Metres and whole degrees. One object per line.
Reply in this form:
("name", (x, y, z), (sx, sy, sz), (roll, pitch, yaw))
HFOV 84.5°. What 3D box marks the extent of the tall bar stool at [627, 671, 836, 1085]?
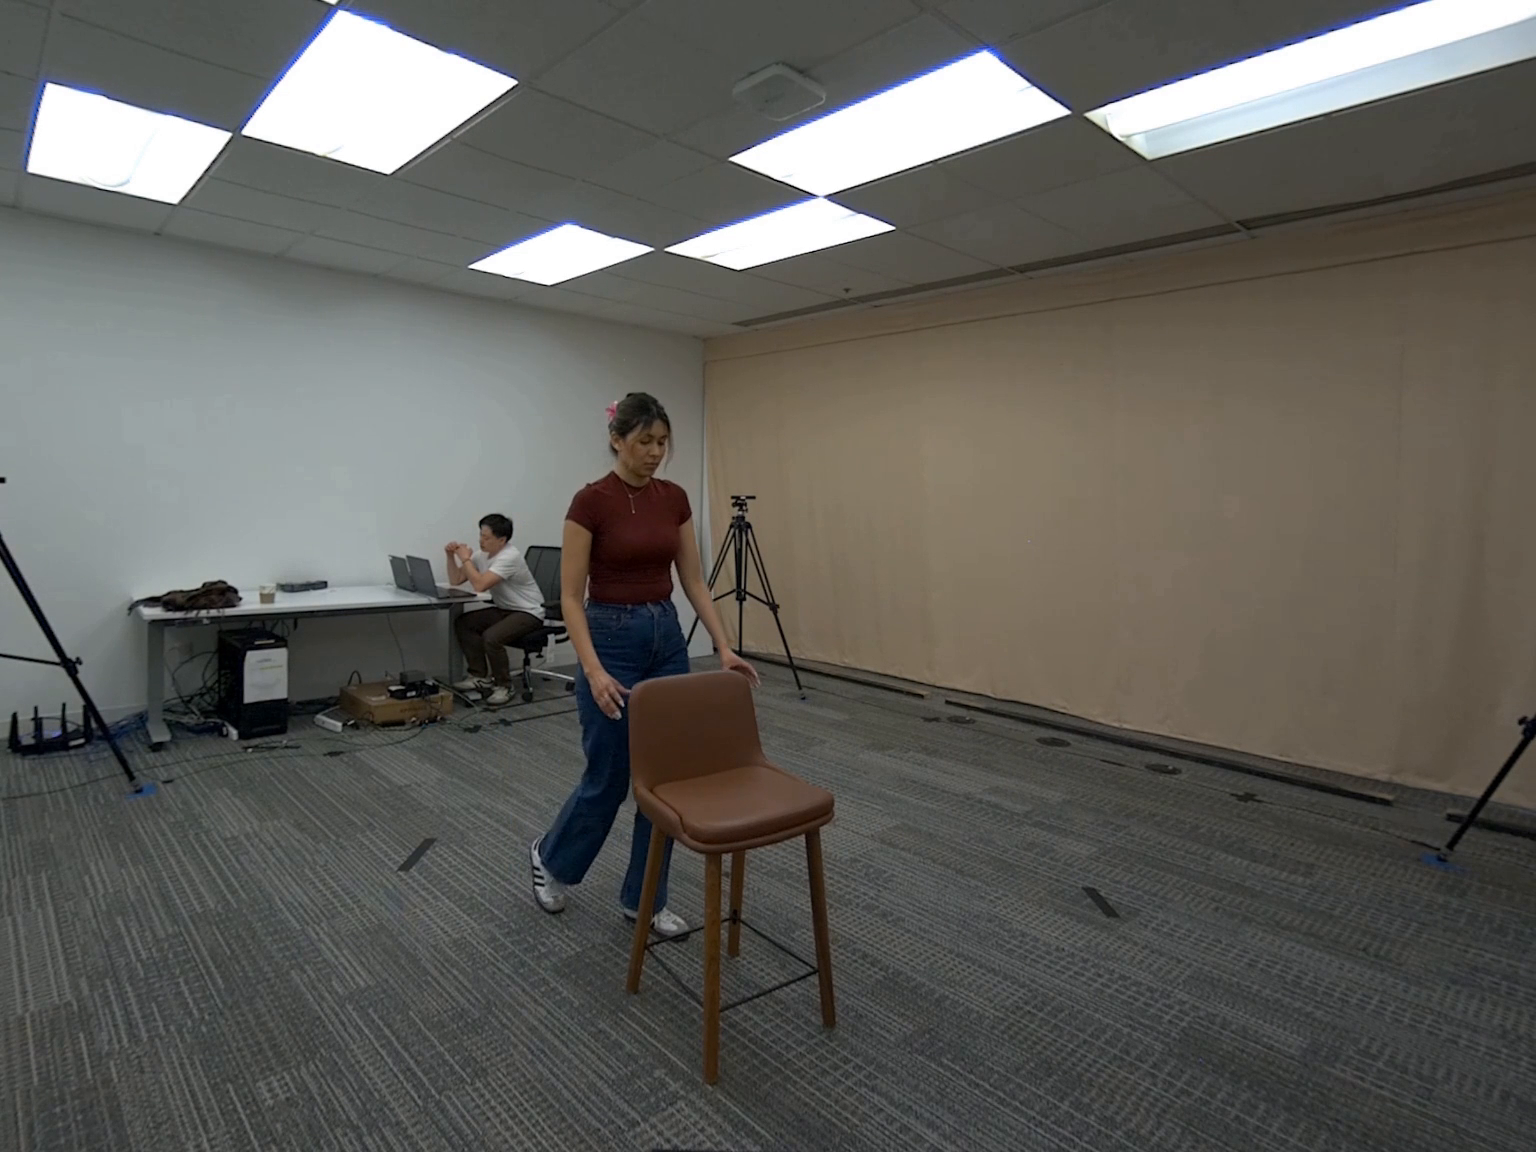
("tall bar stool", (-0.116, 0.742, 2.277), (0.446, 0.889, 0.478), (-2, 2, -36))
